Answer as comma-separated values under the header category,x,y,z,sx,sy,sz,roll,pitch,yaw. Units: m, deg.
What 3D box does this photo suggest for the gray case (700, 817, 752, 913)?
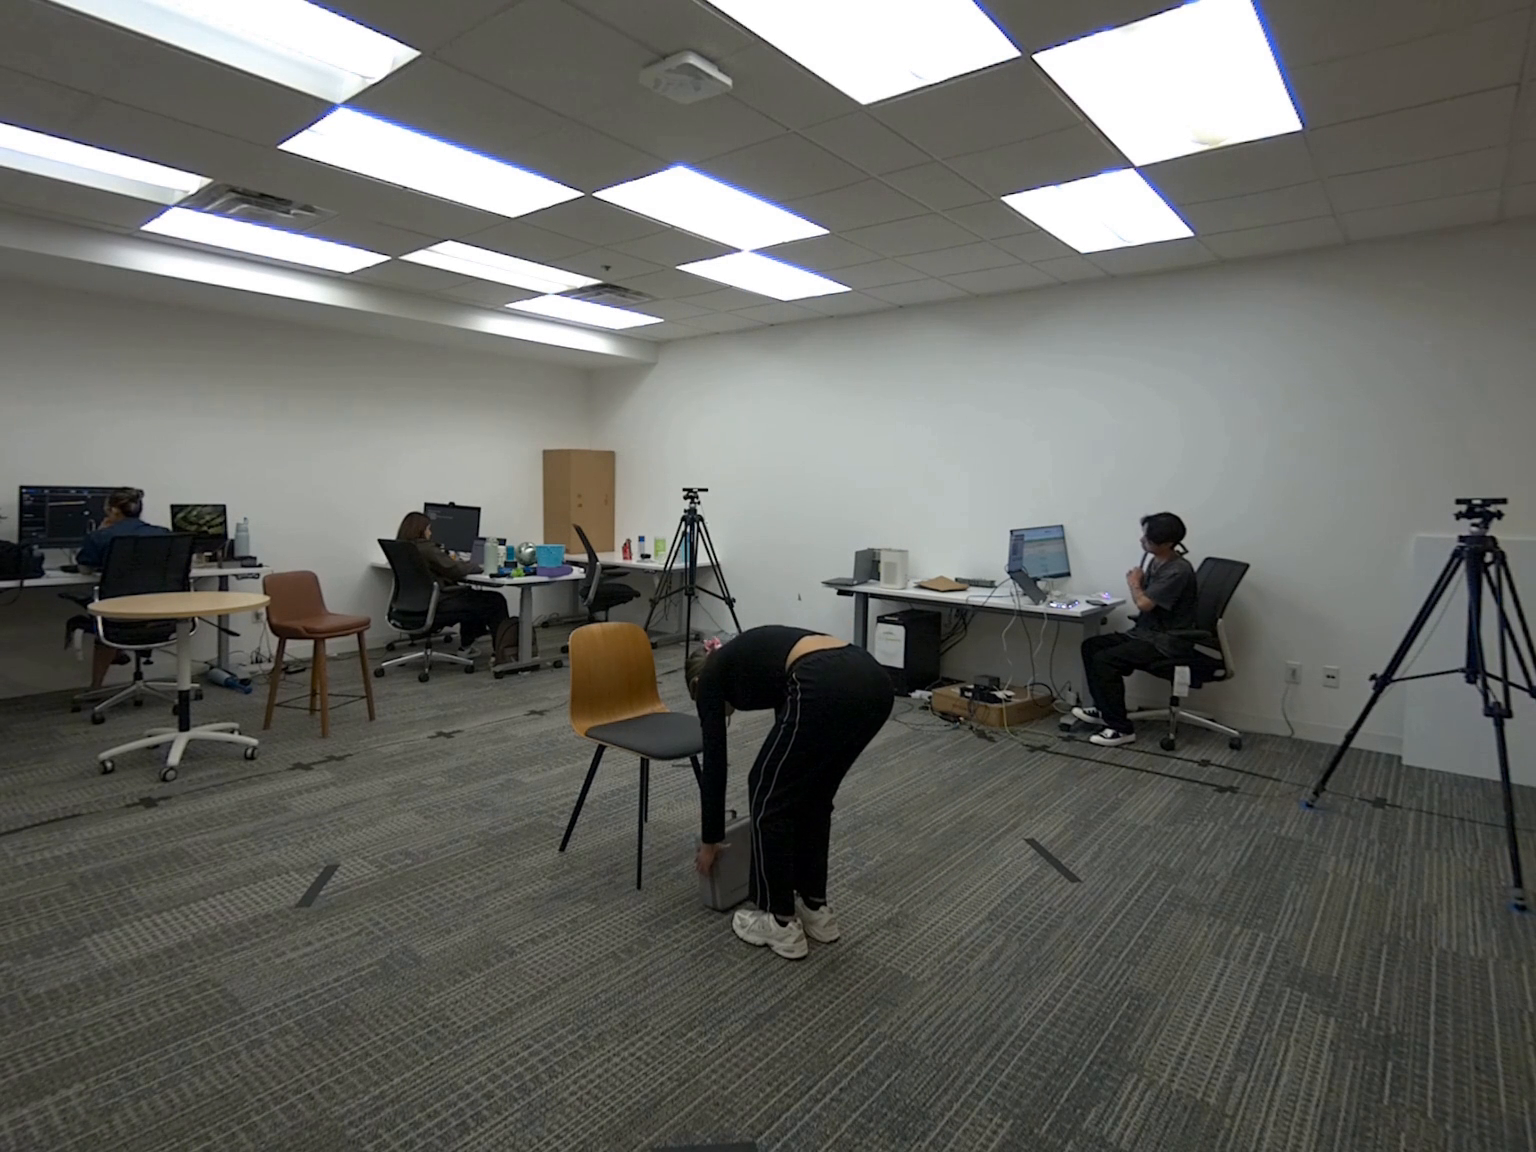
category,x,y,z,sx,sy,sz,roll,pitch,yaw
gray case,-0.132,0.961,2.892,0.107,0.261,0.249,-8,-3,39
